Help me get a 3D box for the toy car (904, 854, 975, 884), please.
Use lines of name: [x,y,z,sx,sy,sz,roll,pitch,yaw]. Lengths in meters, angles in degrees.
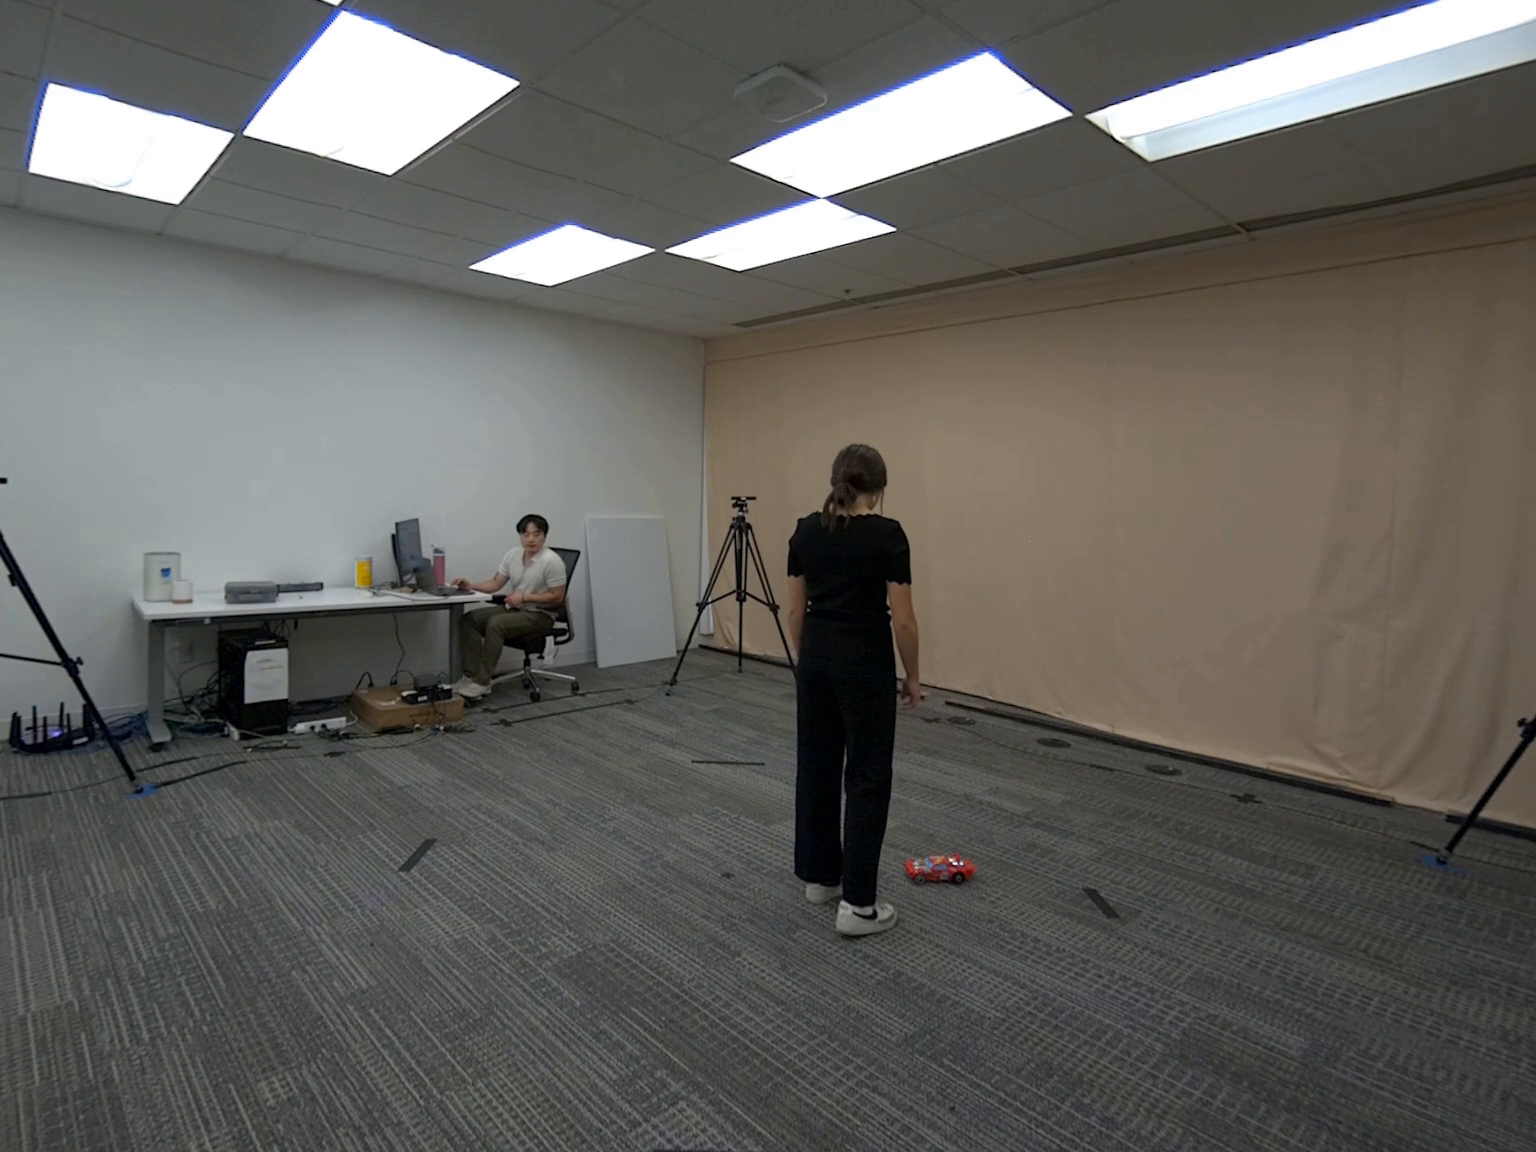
toy car: [0.637,1.092,3.127,0.254,0.083,0.131,-9,6,-4]
